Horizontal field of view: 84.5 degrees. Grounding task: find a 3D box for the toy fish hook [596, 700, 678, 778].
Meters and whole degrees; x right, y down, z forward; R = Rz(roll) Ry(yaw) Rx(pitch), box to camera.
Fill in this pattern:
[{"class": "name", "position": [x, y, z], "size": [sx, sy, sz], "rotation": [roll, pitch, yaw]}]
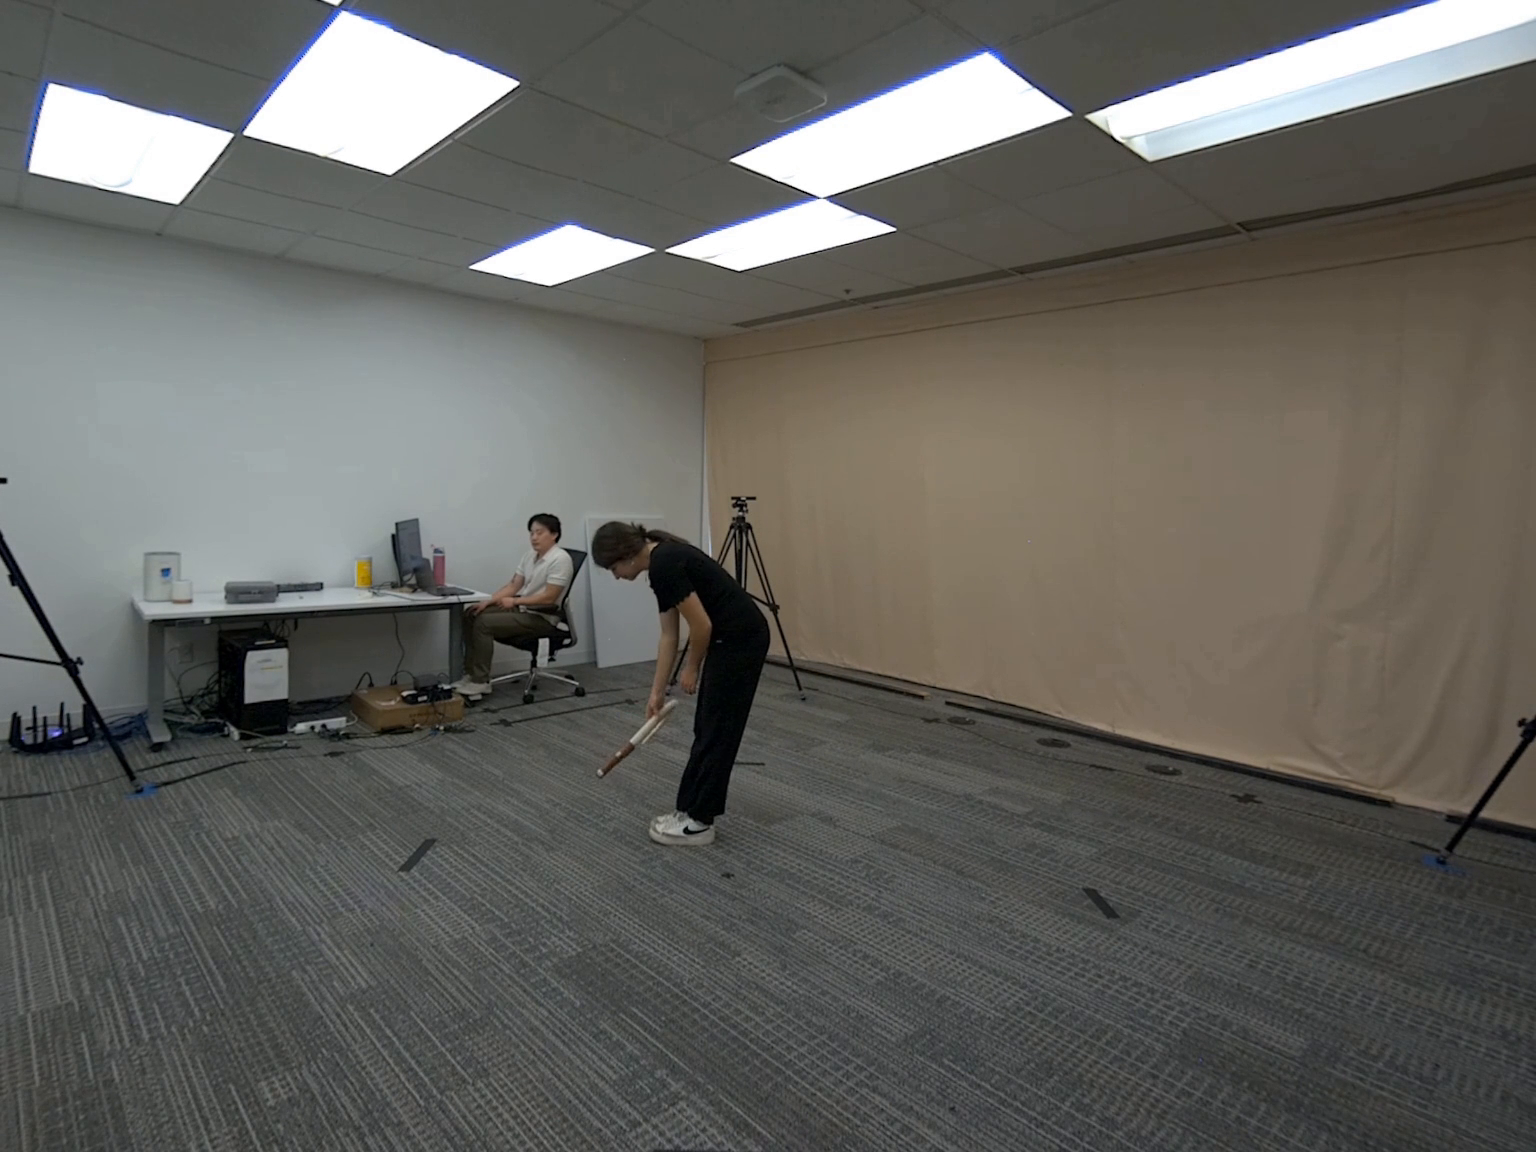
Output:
[{"class": "toy fish hook", "position": [-0.554, 0.699, 3.526], "size": [0.049, 0.222, 0.504], "rotation": [36, 47, 14]}]
